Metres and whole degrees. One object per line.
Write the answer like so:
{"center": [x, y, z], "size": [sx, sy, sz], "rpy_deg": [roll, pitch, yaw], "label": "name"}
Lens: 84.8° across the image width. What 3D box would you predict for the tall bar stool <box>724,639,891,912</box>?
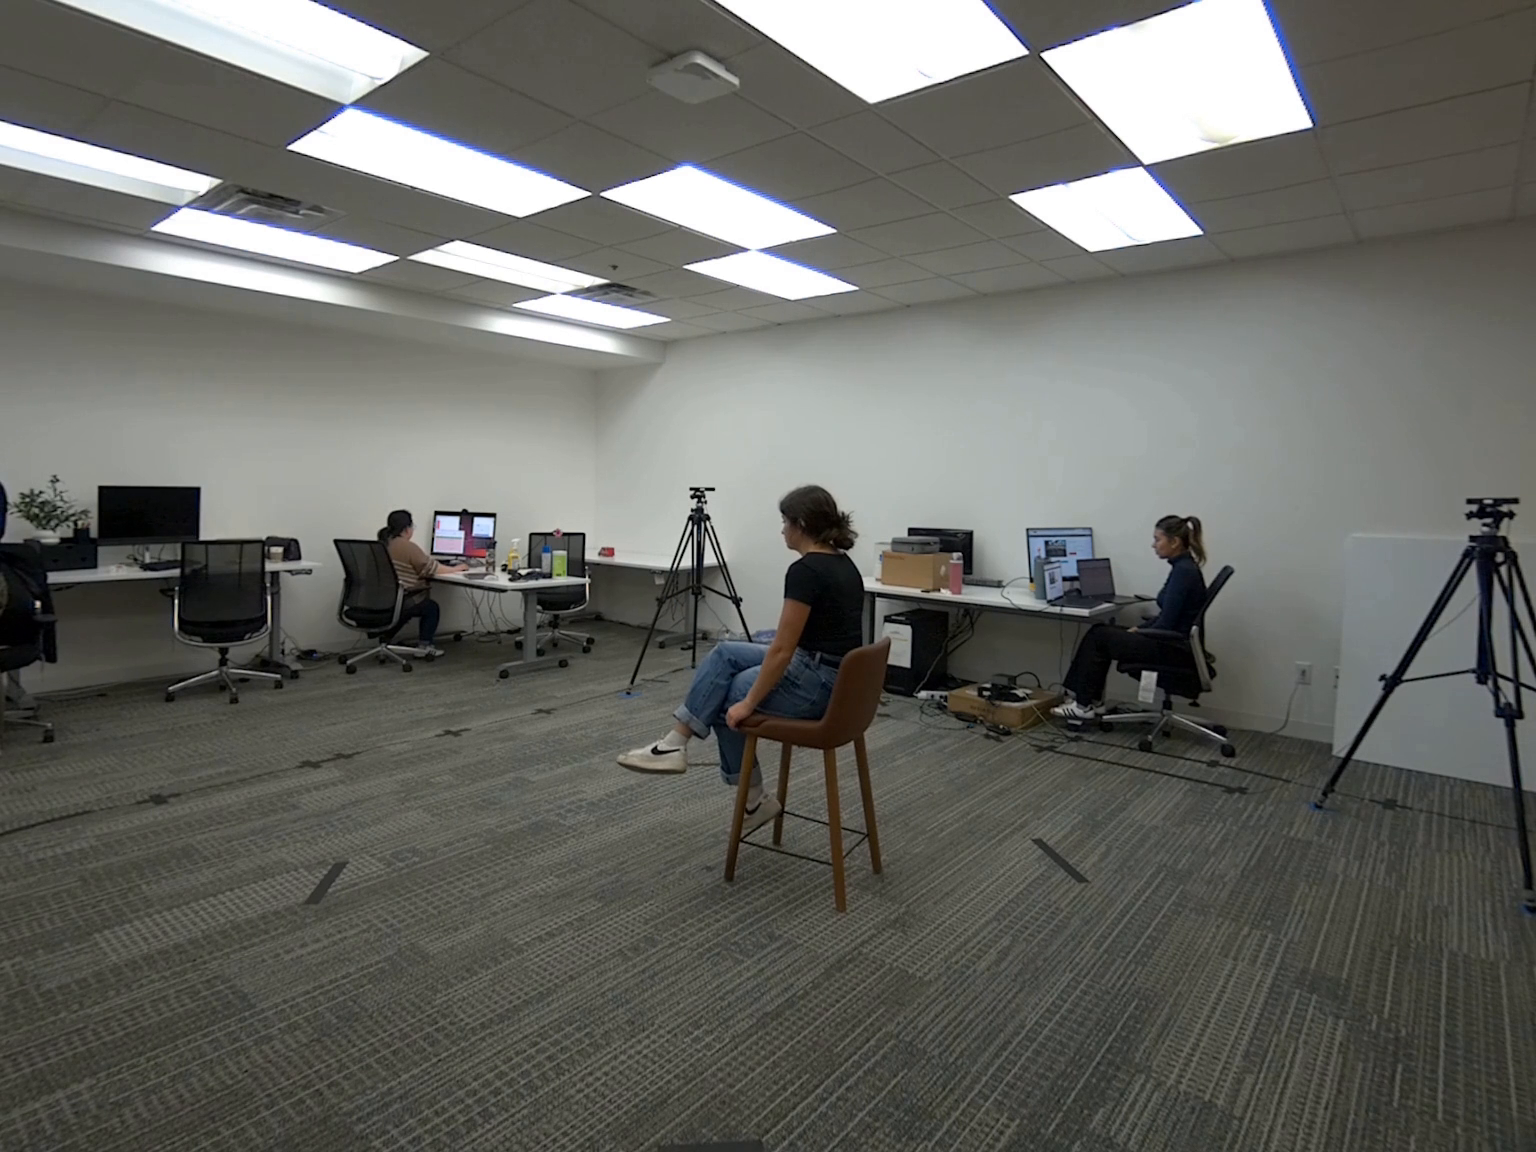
{"center": [0.147, 0.649, 3.044], "size": [0.481, 0.886, 0.445], "rpy_deg": [5, 5, 29], "label": "tall bar stool"}
